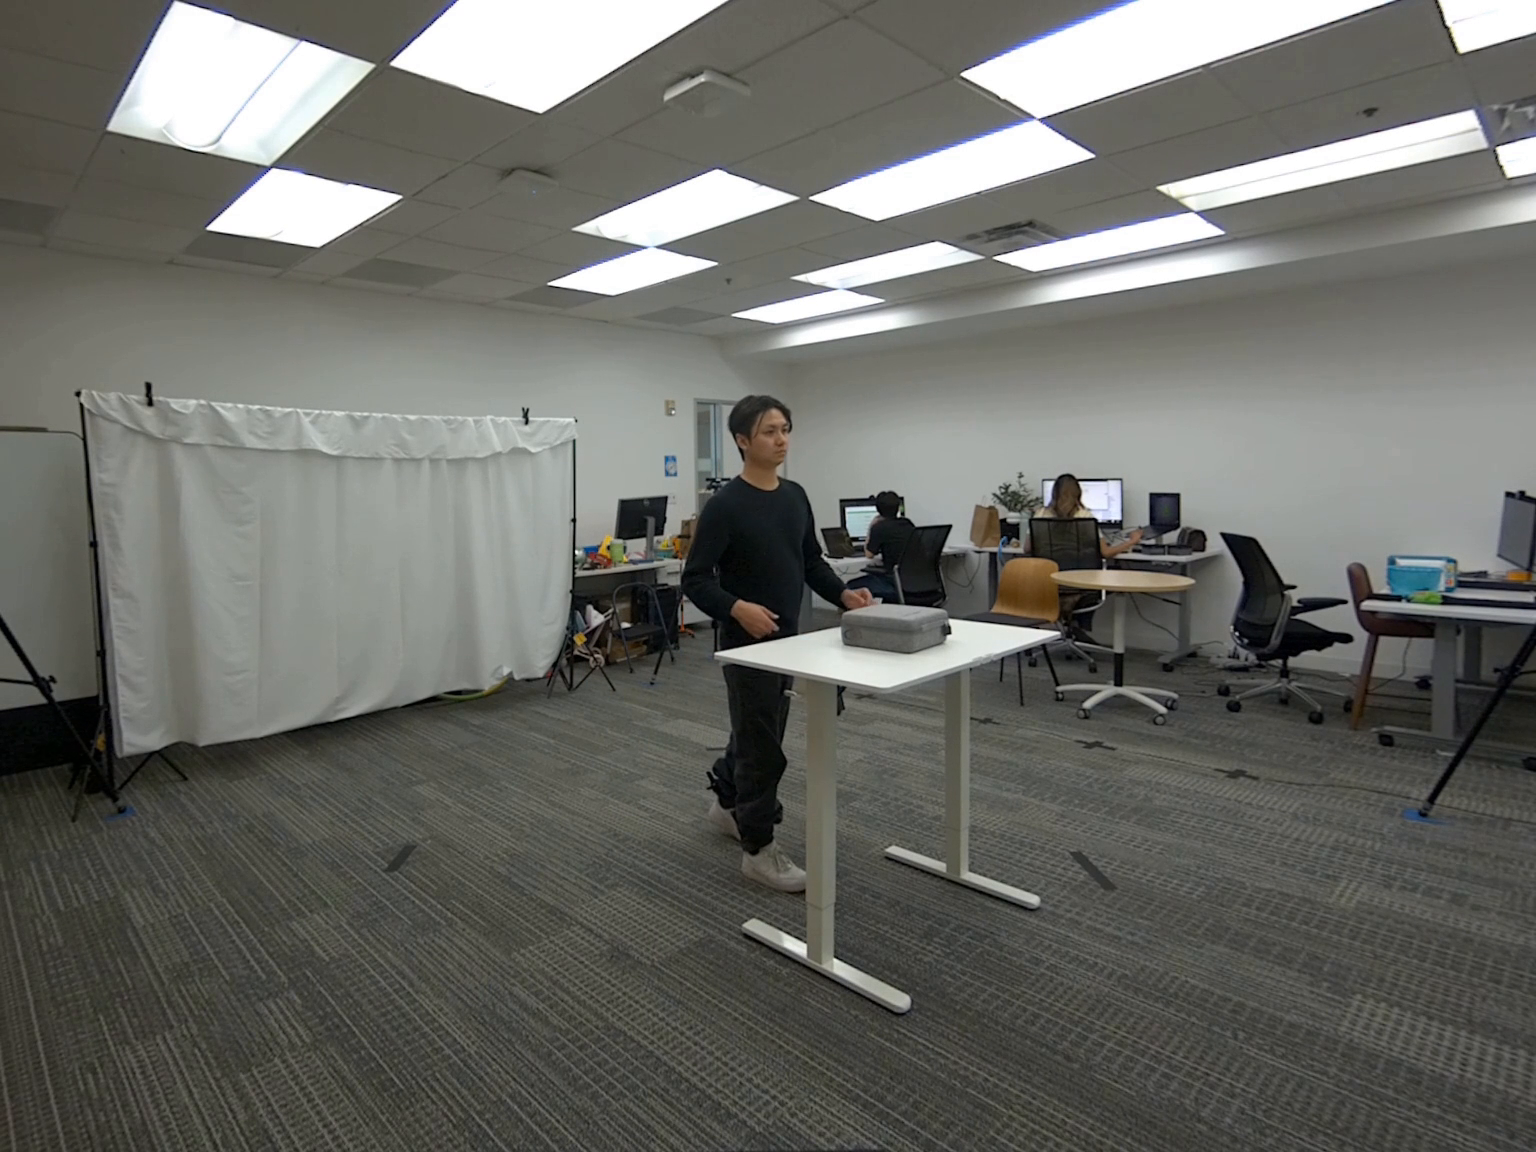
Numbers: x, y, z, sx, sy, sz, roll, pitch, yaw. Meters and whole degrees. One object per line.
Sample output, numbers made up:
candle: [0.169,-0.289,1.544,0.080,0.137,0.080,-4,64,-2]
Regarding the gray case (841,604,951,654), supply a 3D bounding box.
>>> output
gray case: [0.385,0.158,2.614,0.268,0.104,0.250,4,8,41]
